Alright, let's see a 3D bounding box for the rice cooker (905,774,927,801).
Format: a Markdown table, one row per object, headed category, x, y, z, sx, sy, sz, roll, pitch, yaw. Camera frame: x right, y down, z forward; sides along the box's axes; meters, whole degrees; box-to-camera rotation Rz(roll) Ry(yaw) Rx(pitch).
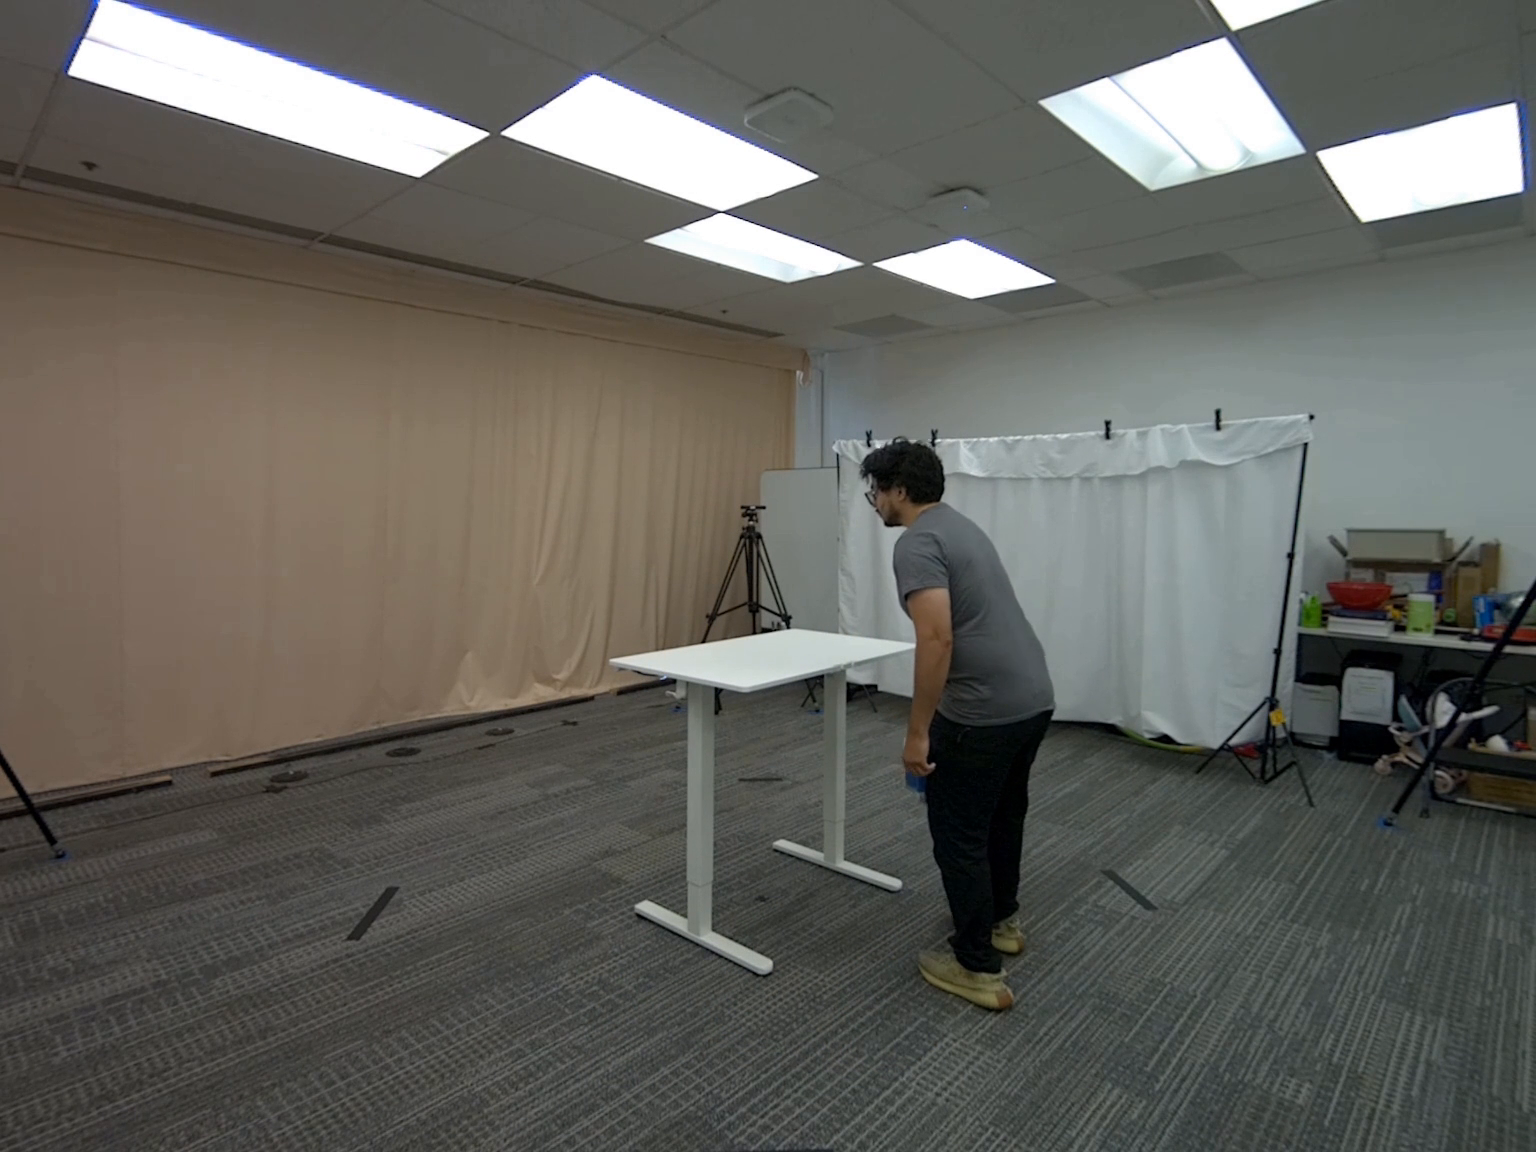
| category | x | y | z | sx | sy | sz | roll | pitch | yaw |
| --- | --- | --- | --- | --- | --- | --- | --- | --- | --- |
| rice cooker | 0.567 | 0.618 | 2.777 | 0.219 | 0.232 | 0.220 | 1 | 7 | -7 |
